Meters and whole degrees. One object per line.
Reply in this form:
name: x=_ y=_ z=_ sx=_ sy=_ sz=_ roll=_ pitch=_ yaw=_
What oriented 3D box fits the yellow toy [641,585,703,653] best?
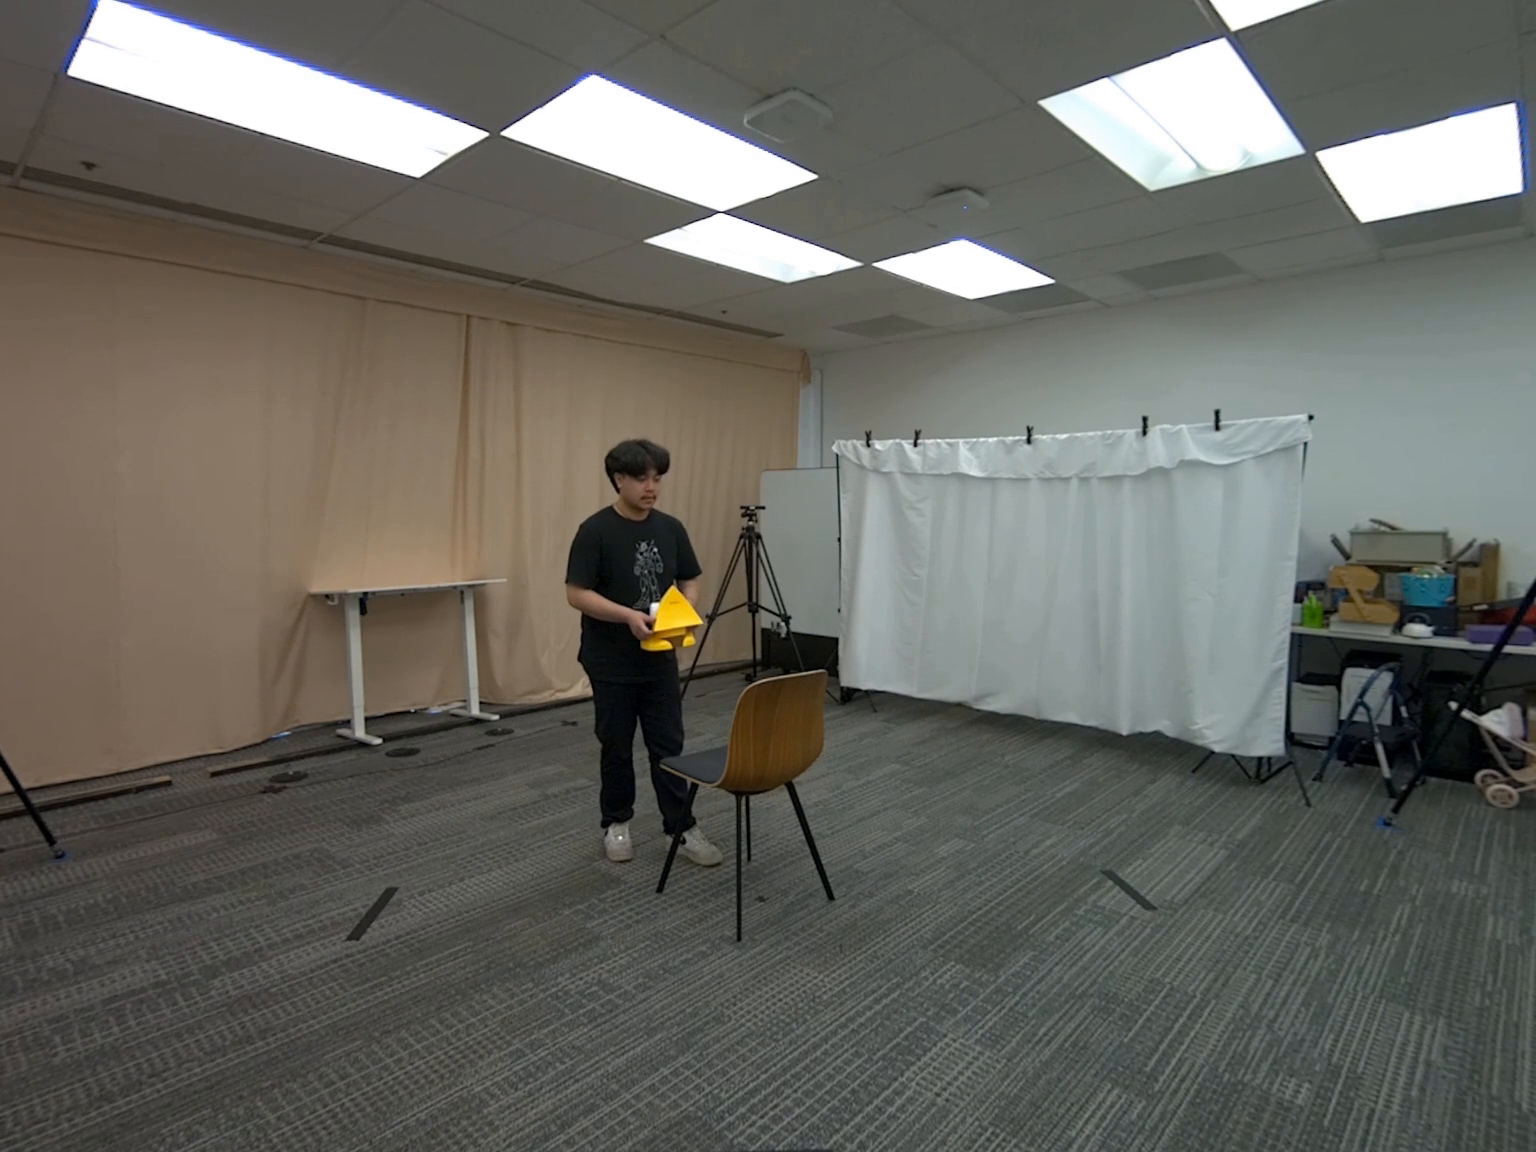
yellow toy: x=-0.372 y=0.148 z=3.164 sx=0.199 sy=0.230 sz=0.199 roll=-7 pitch=6 yaw=-34
